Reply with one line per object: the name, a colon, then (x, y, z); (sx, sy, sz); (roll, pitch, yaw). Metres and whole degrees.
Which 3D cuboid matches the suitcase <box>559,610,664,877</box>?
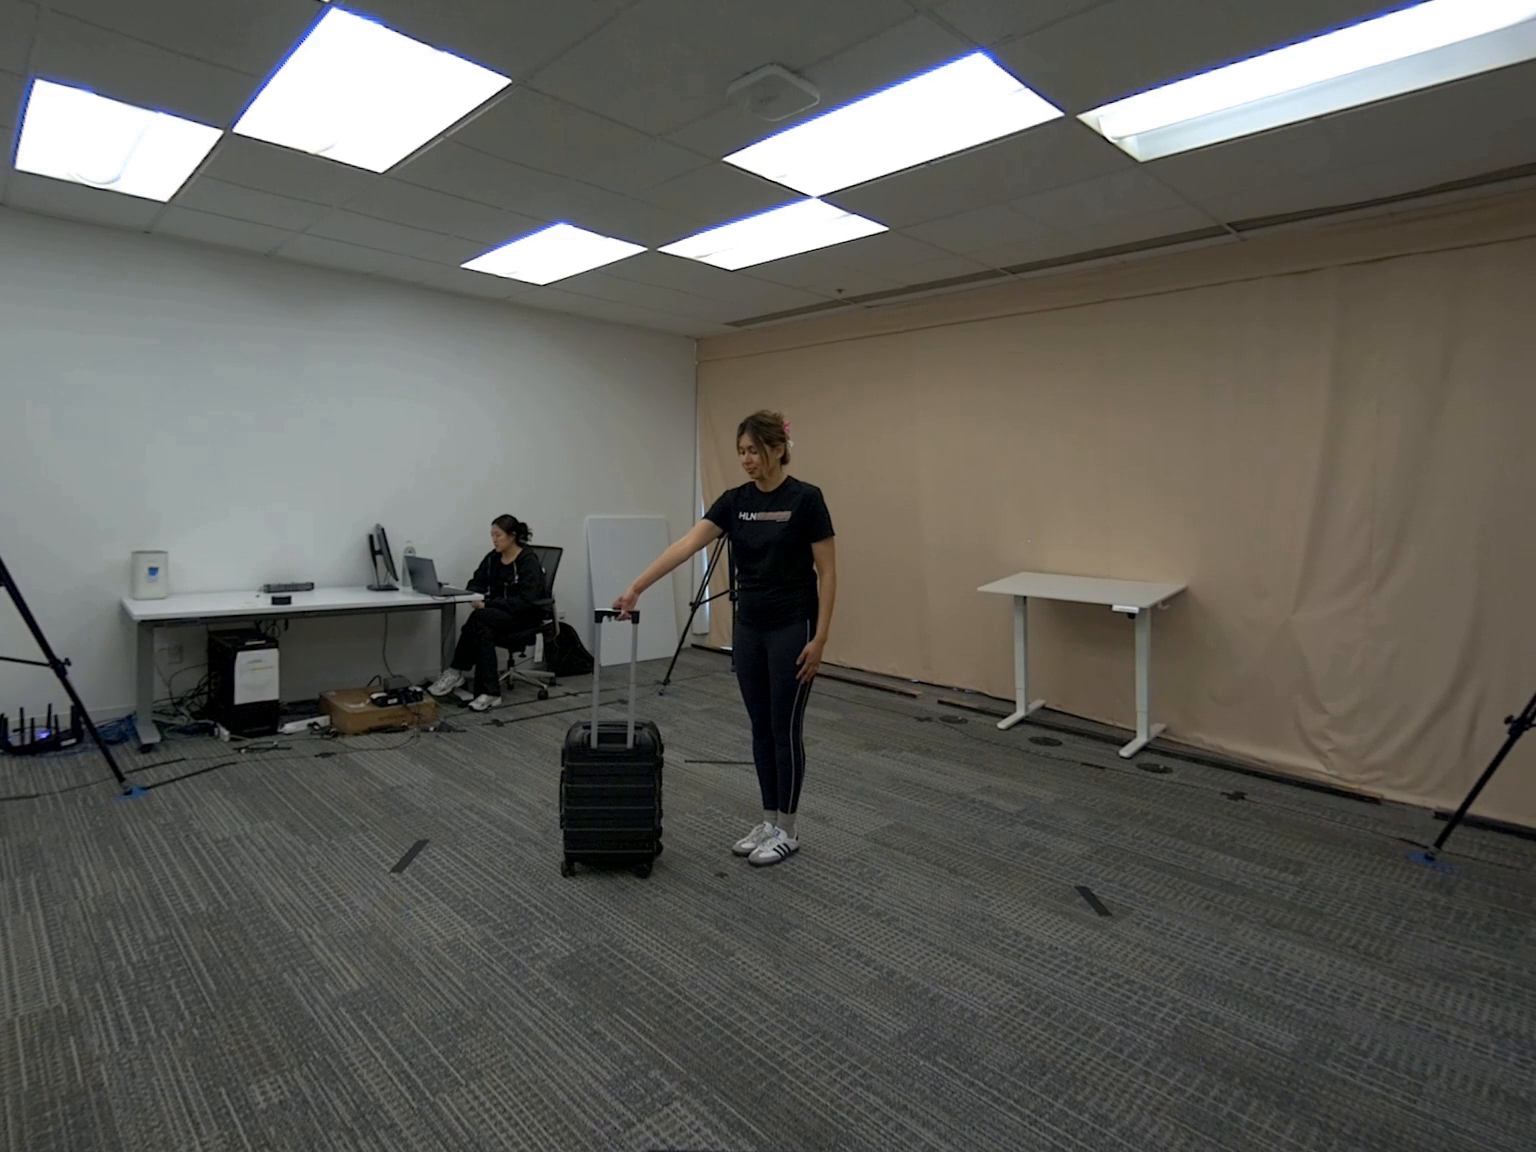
suitcase: (-0.581, 0.614, 3.135); (0.383, 0.976, 0.258); (2, 3, -3)
